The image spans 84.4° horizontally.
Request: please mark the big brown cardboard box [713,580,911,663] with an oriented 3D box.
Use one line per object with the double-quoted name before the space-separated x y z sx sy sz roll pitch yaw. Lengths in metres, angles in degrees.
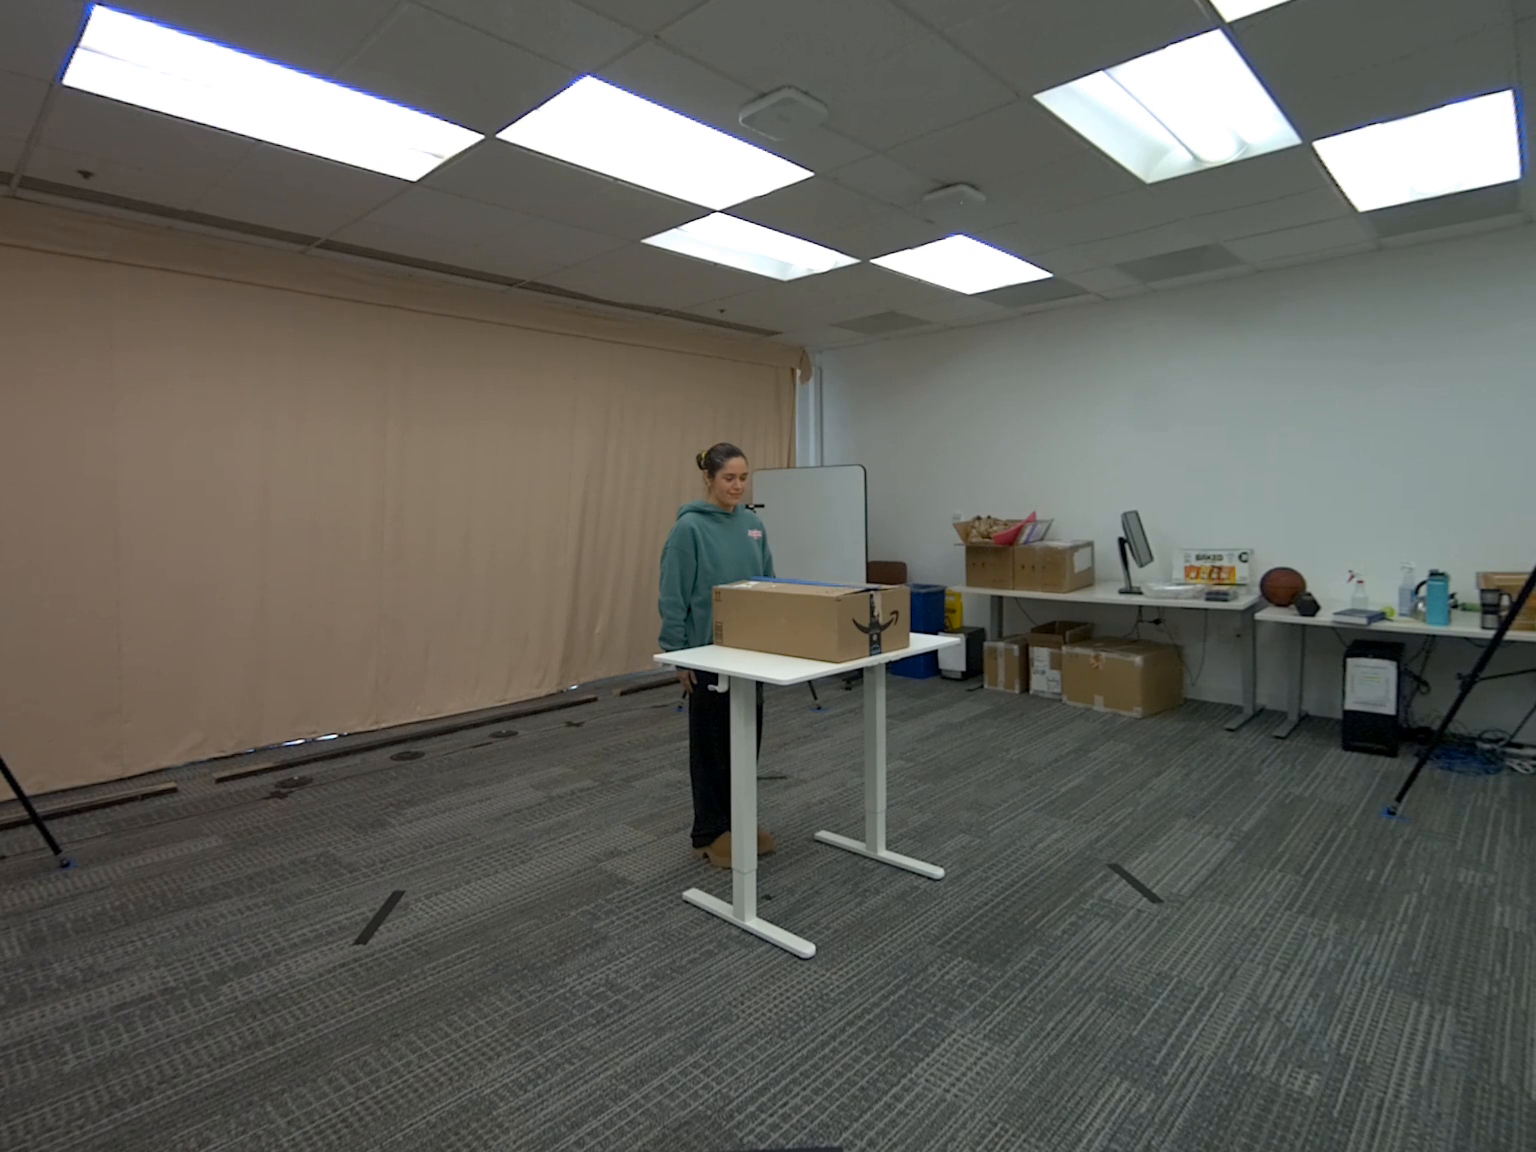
"big brown cardboard box" 0.150 0.142 3.011 0.609 0.232 0.405 5 7 43
